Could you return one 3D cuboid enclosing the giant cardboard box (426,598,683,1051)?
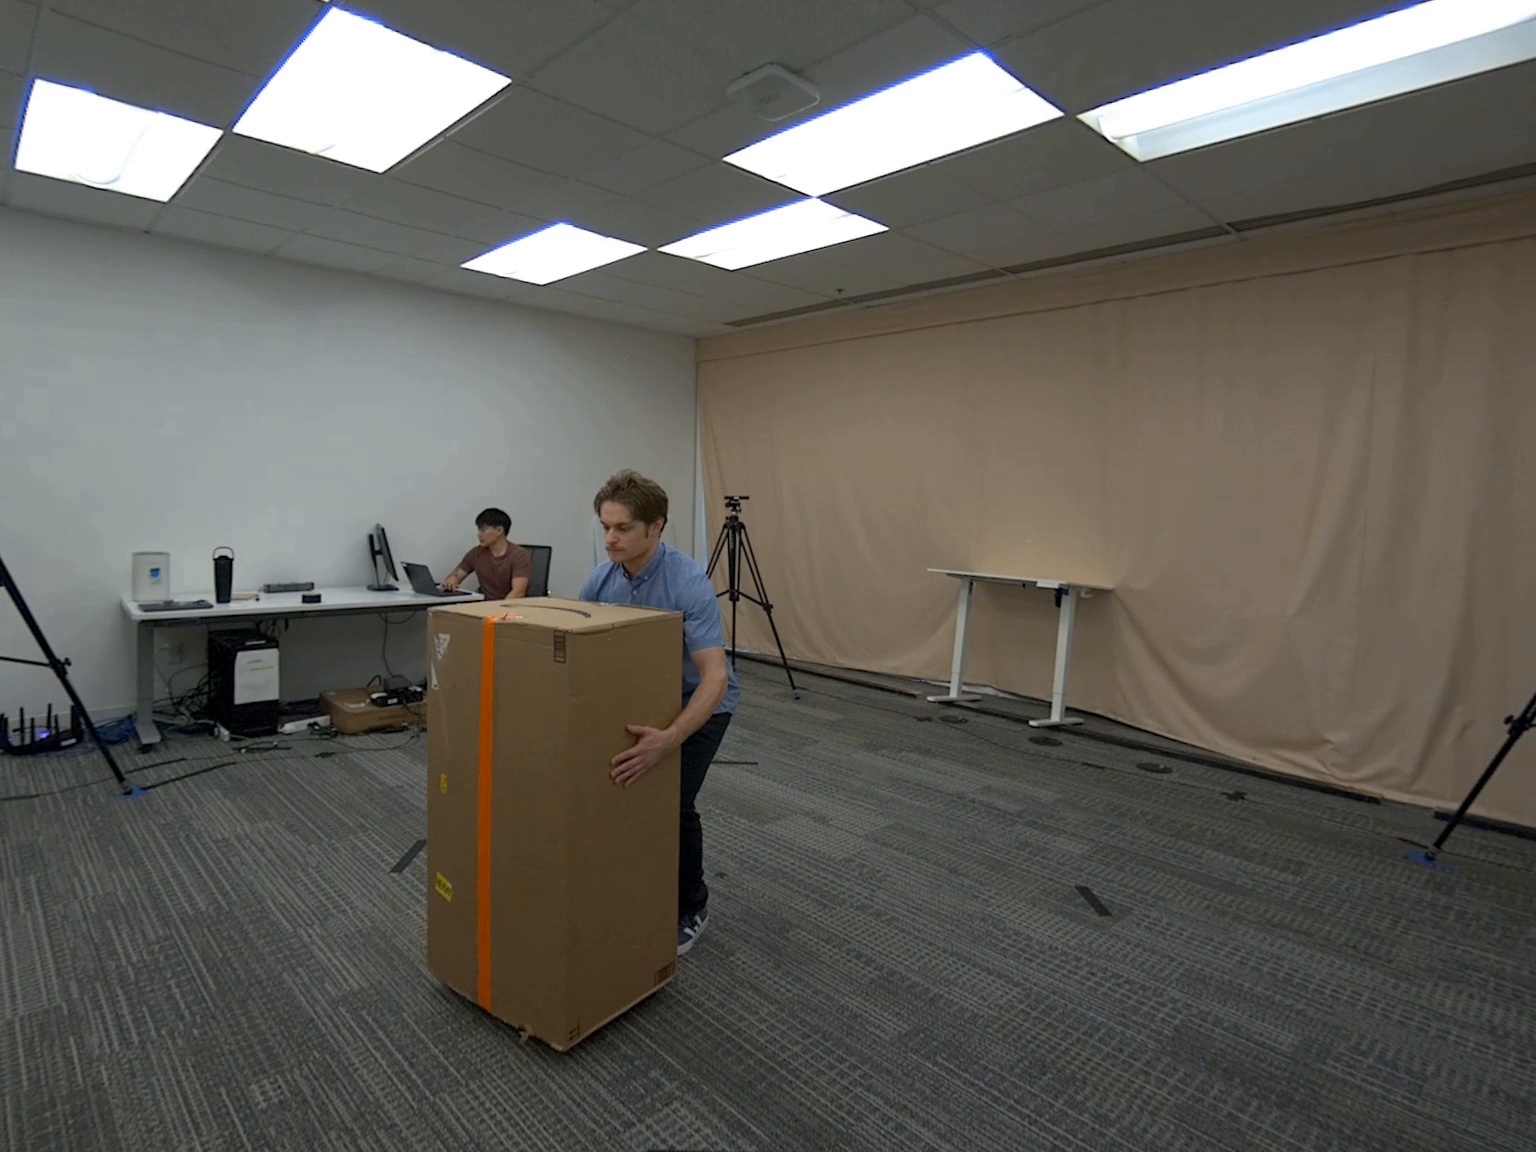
[{"bbox_3d":[-0.599,0.608,2.314,0.591,1.023,0.417,3,4,36],"label":"giant cardboard box"}]
